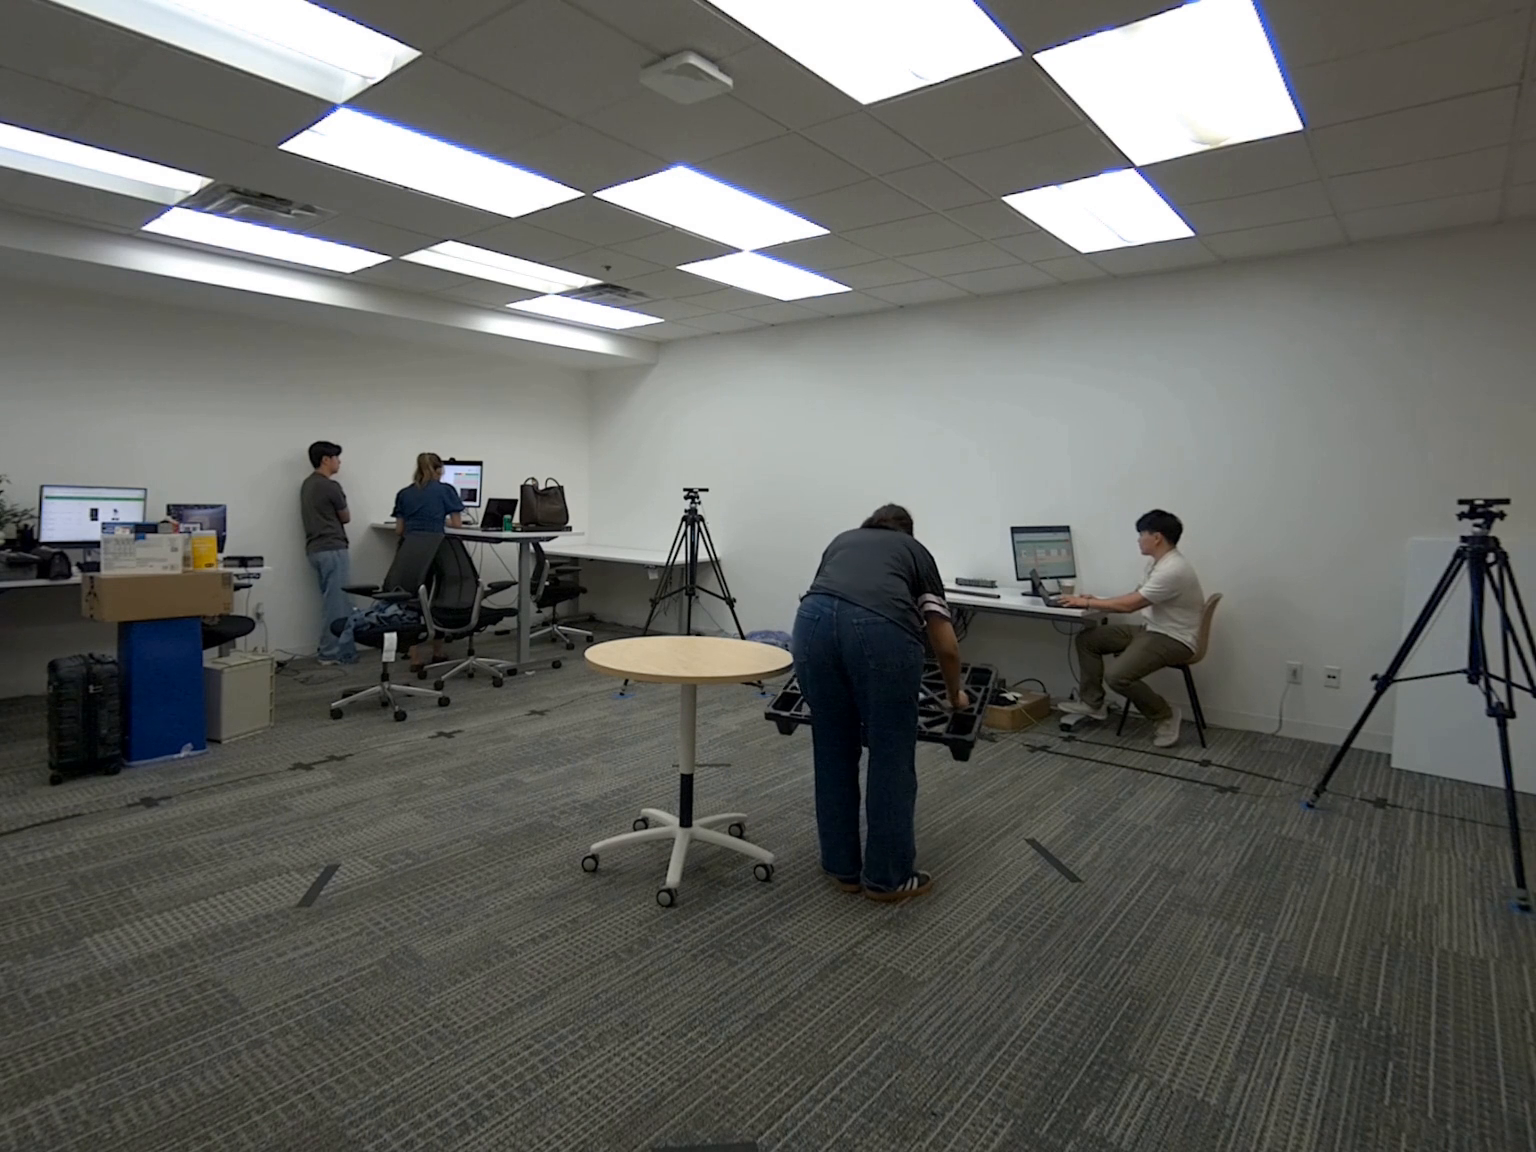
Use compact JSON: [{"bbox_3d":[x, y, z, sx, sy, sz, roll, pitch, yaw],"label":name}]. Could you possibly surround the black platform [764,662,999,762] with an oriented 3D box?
[{"bbox_3d":[0.462,0.509,3.396,0.827,0.140,0.601,3,22,25],"label":"black platform"}]
